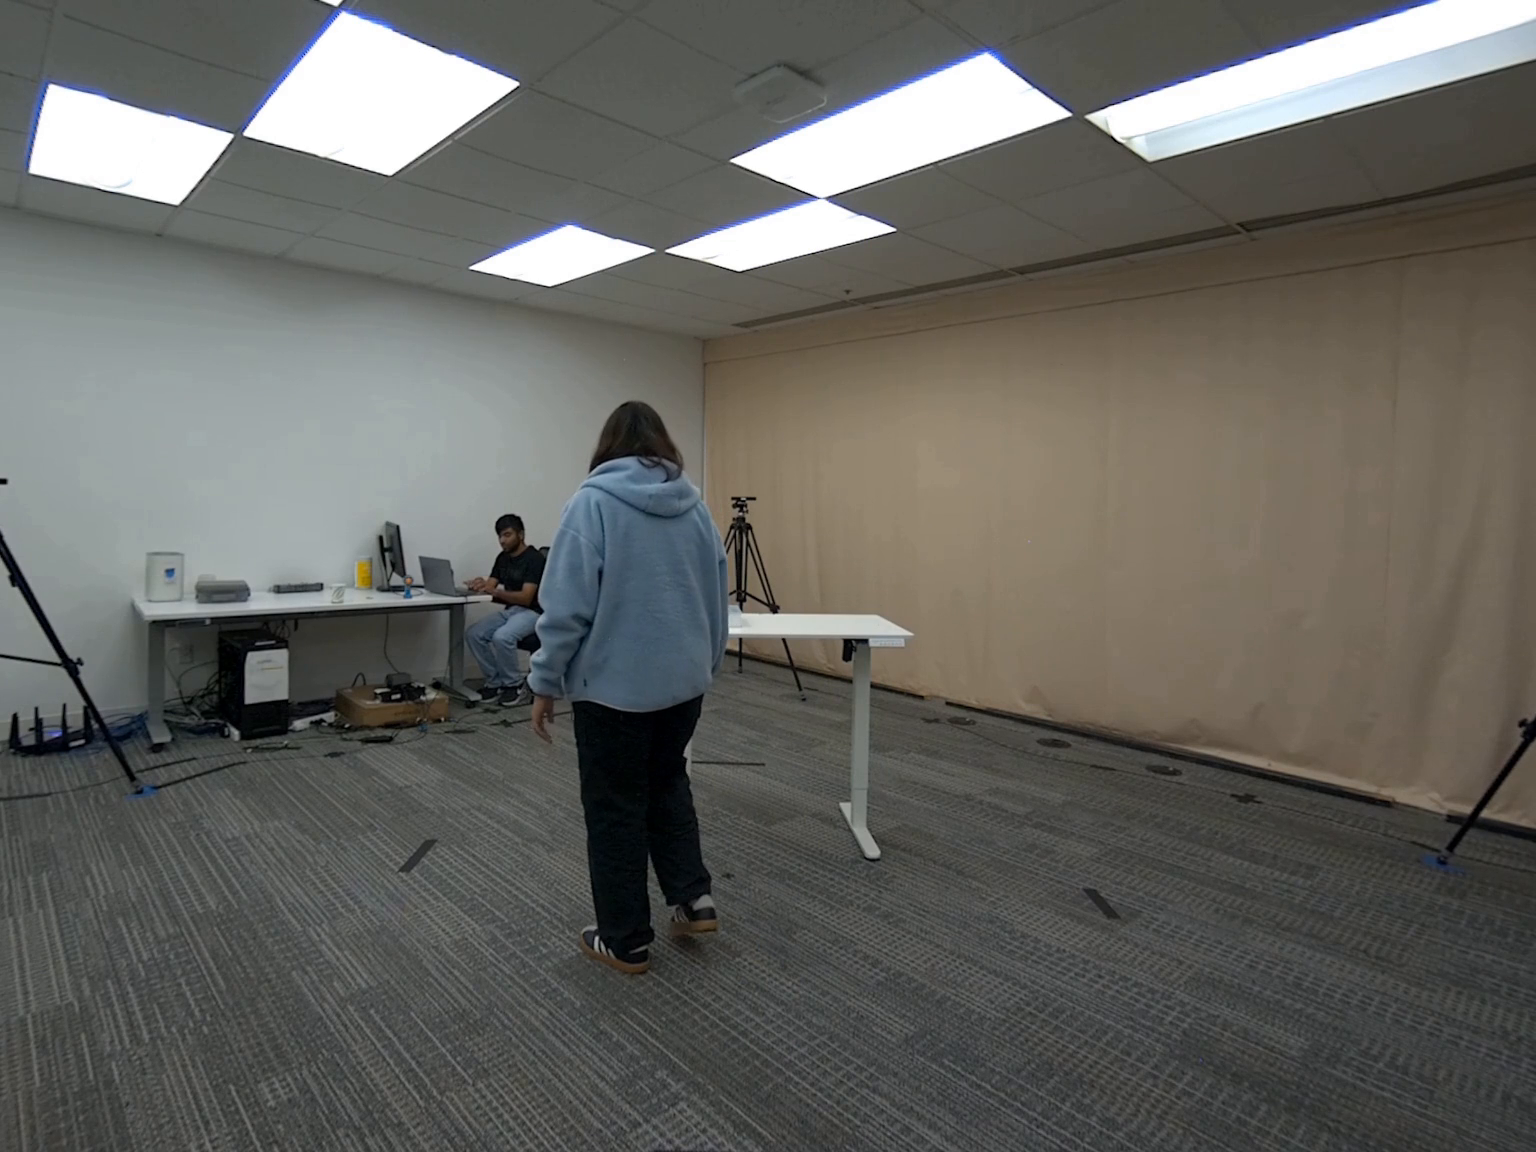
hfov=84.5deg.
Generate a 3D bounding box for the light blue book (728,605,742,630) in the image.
[{"bbox_3d":[-0.215,0.167,3.462,0.191,0.059,0.262,0,4,-3],"label":"light blue book"}]
